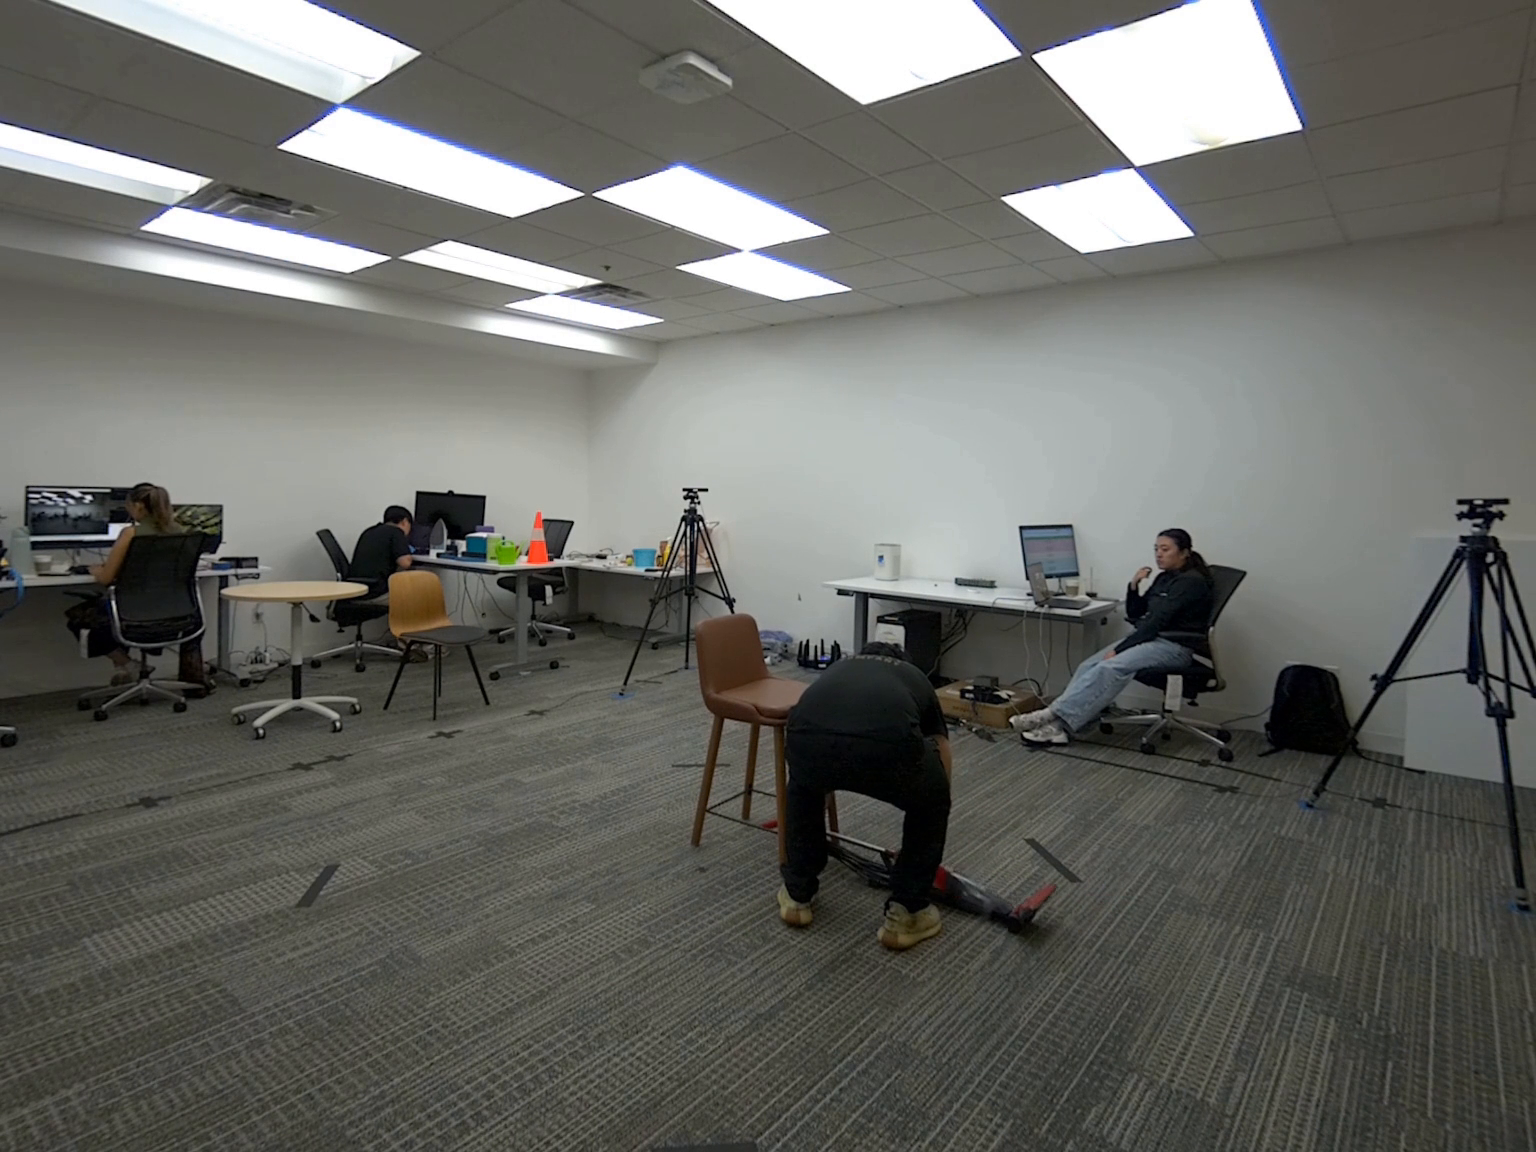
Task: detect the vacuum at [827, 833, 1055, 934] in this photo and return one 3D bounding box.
[{"bbox_3d":[0.425,1.036,3.036,1.083,0.143,0.245,3,6,36],"label":"vacuum"}]
